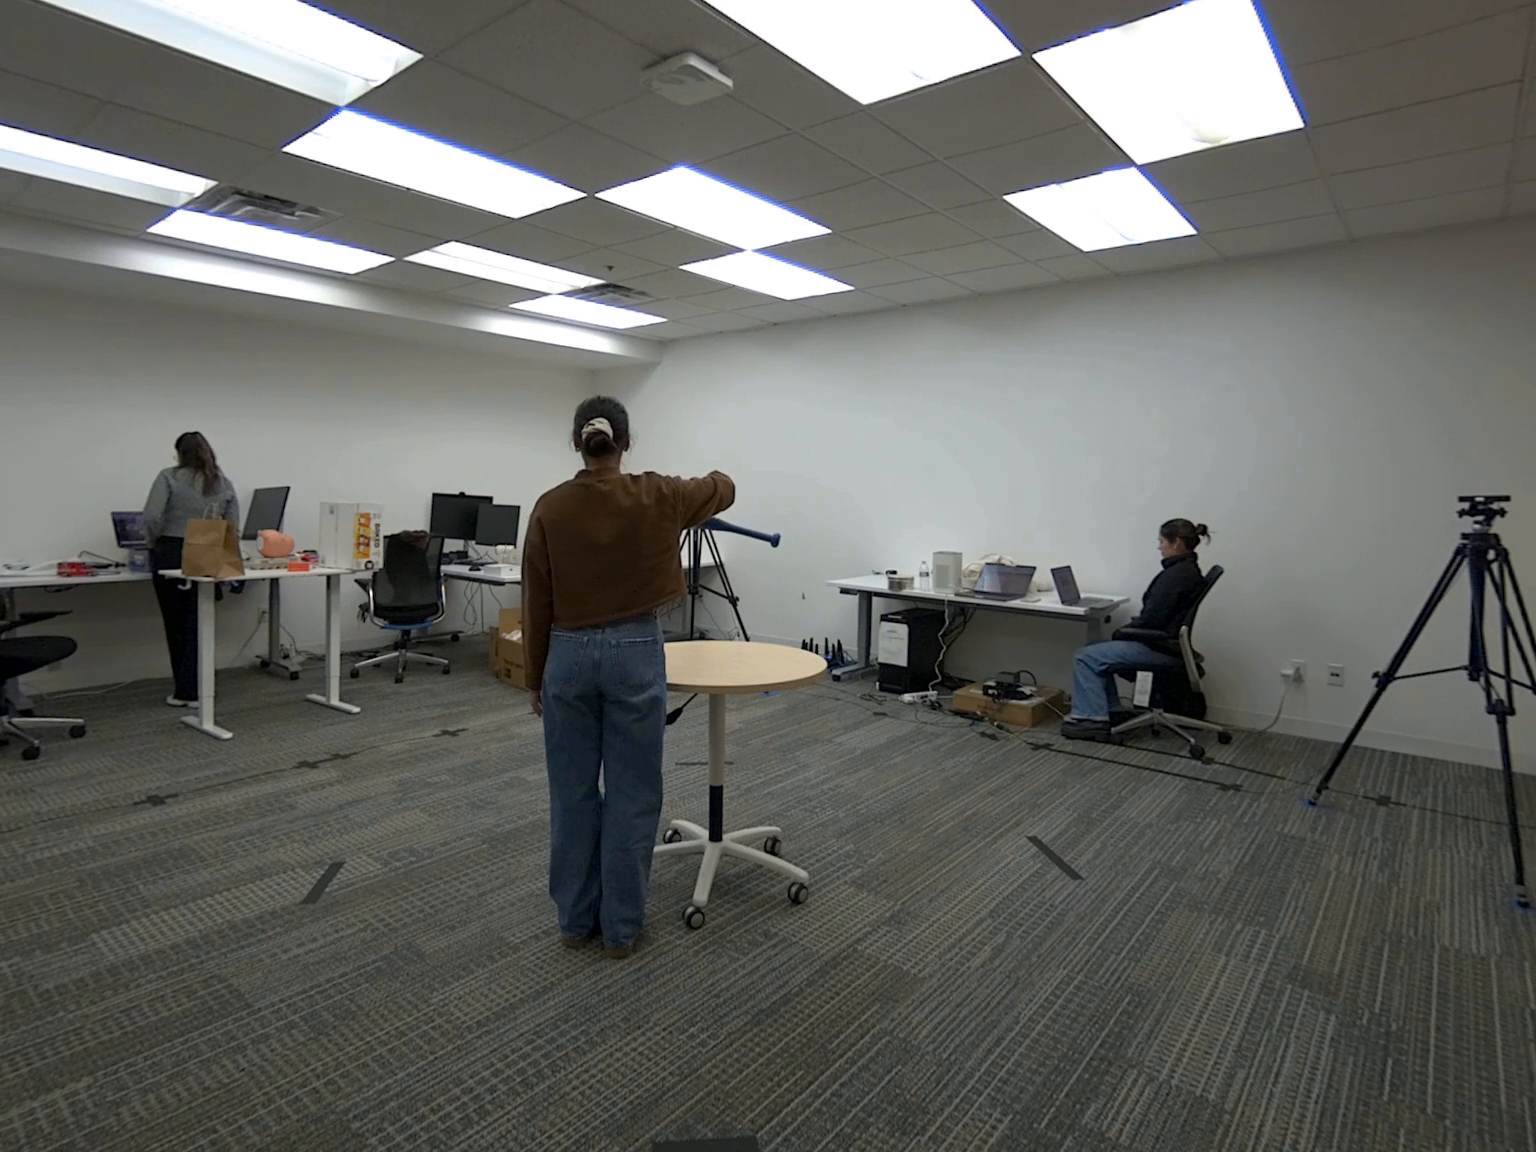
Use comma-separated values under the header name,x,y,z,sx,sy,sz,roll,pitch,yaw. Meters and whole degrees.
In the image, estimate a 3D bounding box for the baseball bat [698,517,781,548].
name,x,y,z,sx,sy,sz,roll,pitch,yaw
baseball bat,-0.225,-0.188,2.918,0.553,0.088,0.088,15,7,14
